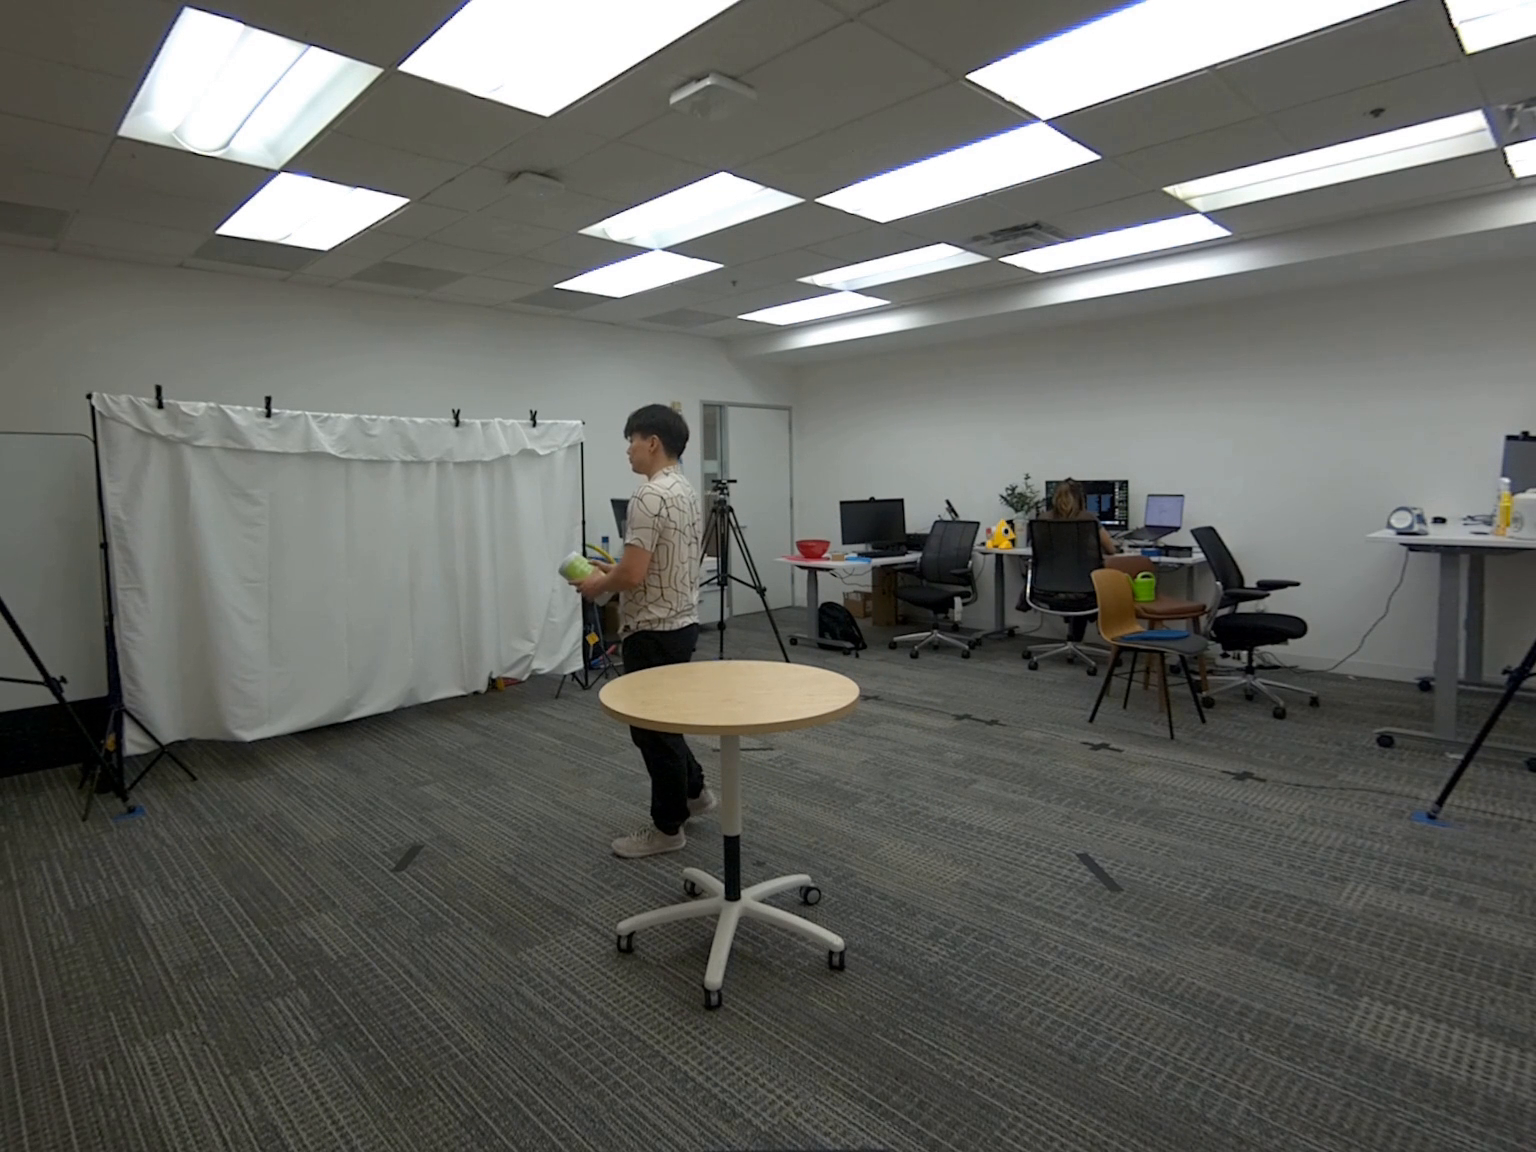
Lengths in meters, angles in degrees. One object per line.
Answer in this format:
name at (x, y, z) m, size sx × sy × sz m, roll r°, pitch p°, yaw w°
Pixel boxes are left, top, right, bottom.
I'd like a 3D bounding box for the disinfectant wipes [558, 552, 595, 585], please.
disinfectant wipes at (-0.683, 0.002, 3.271) m, size 0.219 × 0.117 × 0.117 m, roll 32°, pitch 7°, yaw 3°
